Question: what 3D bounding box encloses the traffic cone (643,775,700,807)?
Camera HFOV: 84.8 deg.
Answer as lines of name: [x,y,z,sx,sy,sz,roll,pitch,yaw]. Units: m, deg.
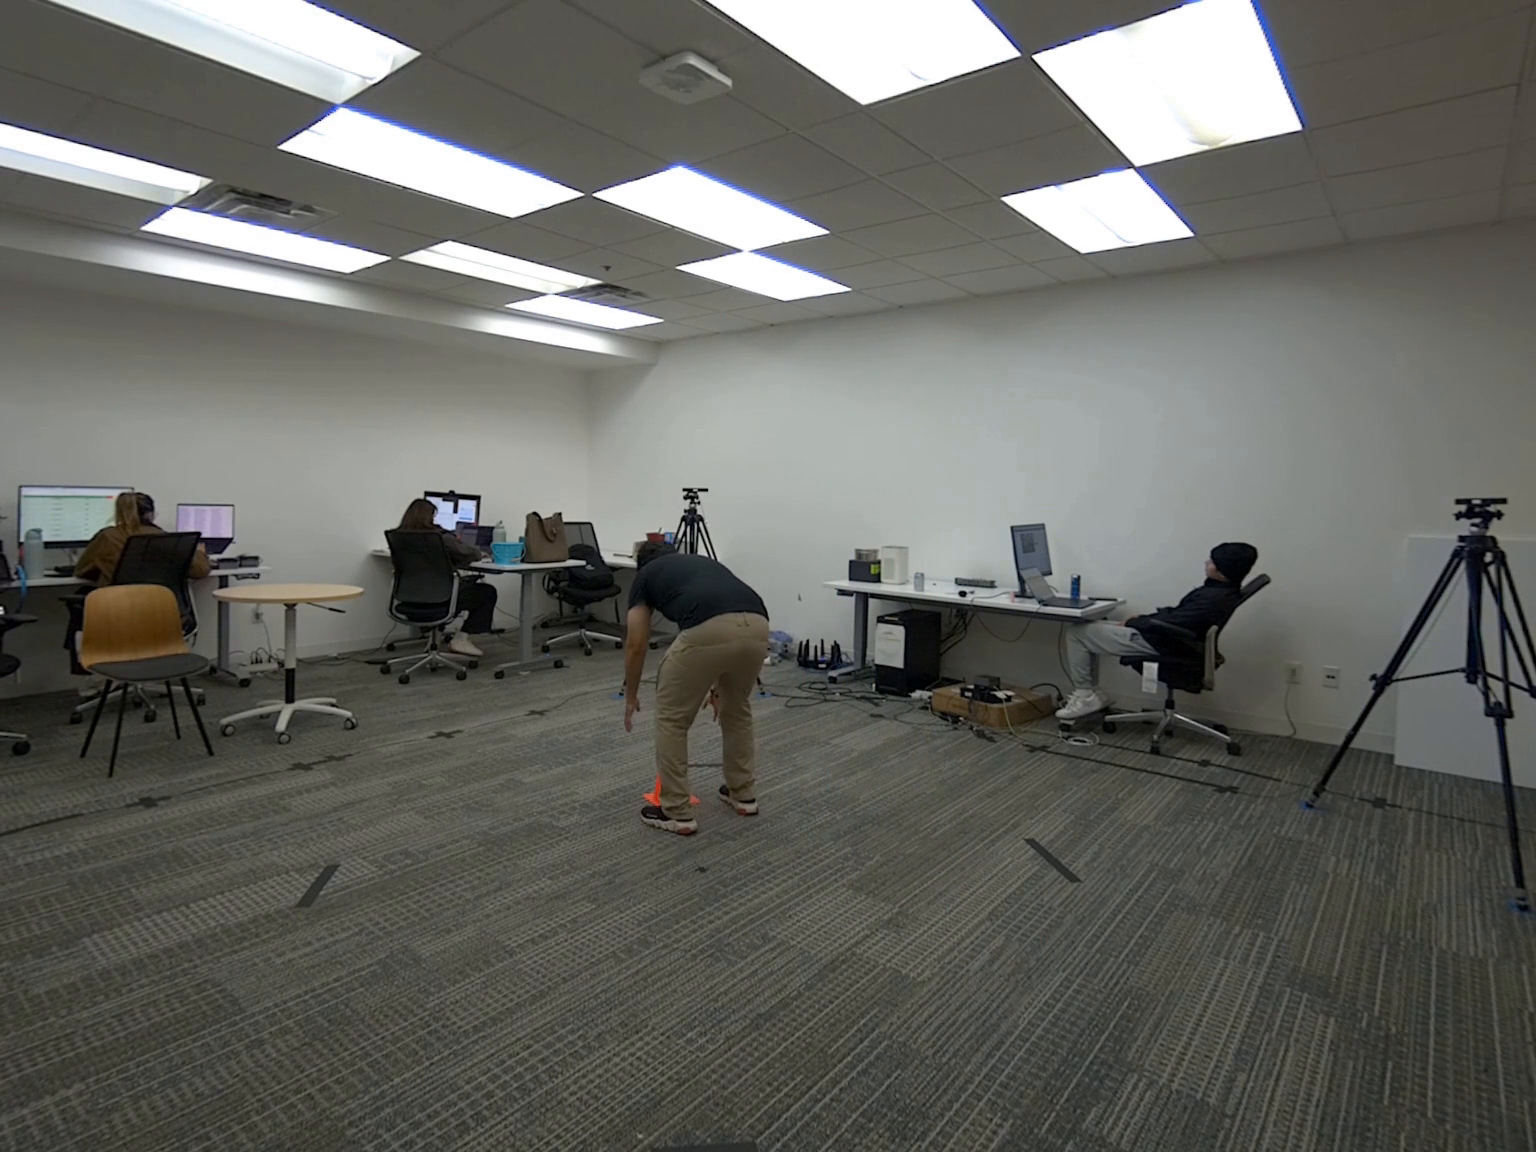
traffic cone: [-0.441,0.808,3.809,0.198,0.382,0.211,-4,5,-36]
